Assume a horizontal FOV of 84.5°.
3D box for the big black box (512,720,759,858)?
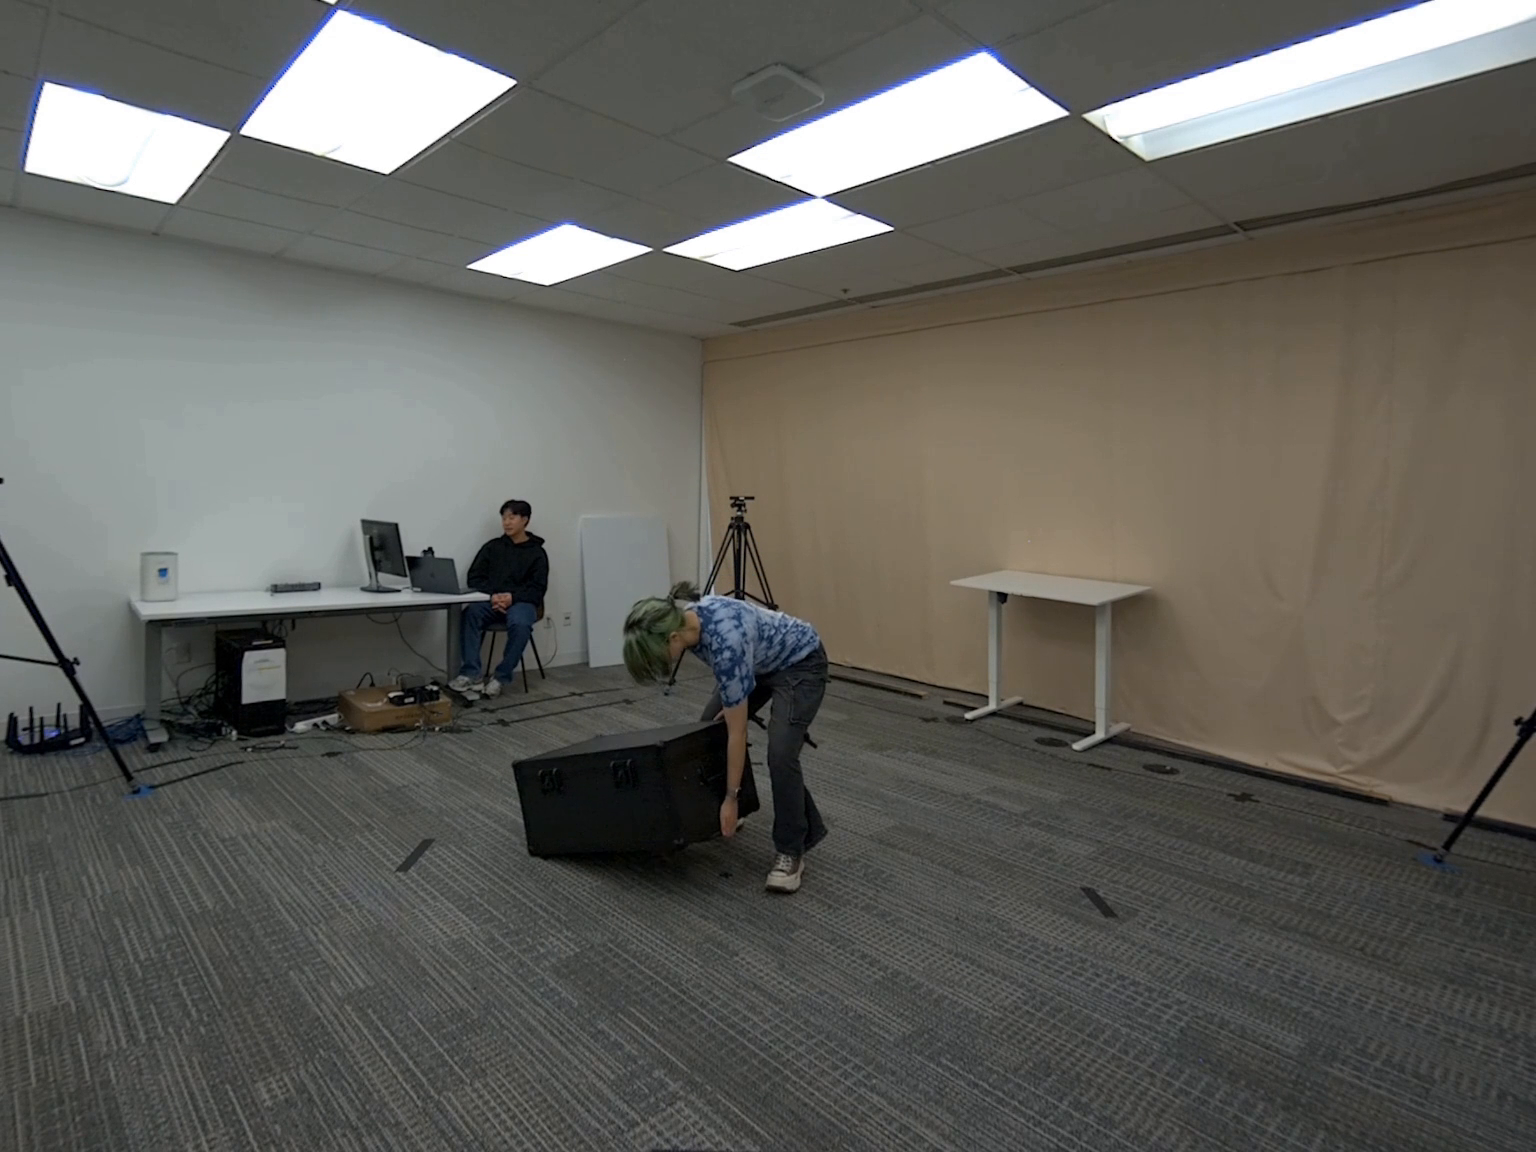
[{"bbox_3d":[-0.545,0.822,3.235,0.876,0.398,0.510,-13,-5,35],"label":"big black box"}]
